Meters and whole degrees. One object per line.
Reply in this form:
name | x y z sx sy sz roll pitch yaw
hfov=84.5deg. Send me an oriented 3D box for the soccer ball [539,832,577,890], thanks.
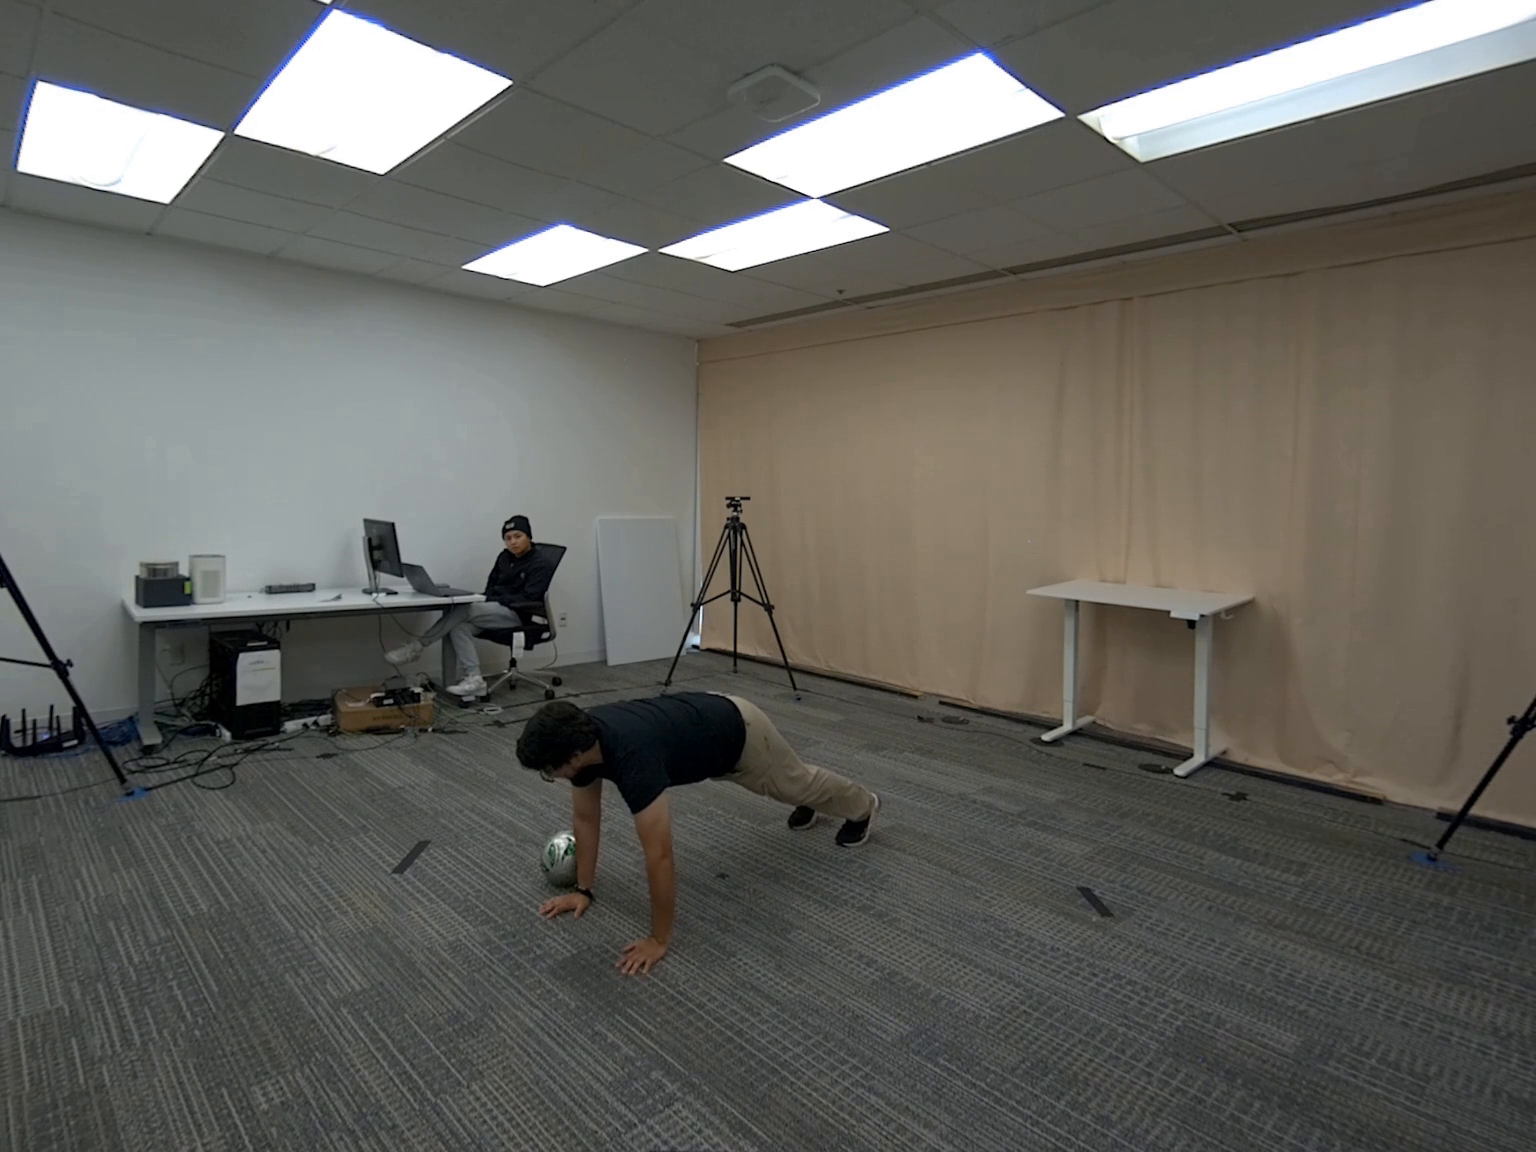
soccer ball | -0.735 1.016 3.009 0.187 0.187 0.188 1 4 -1
